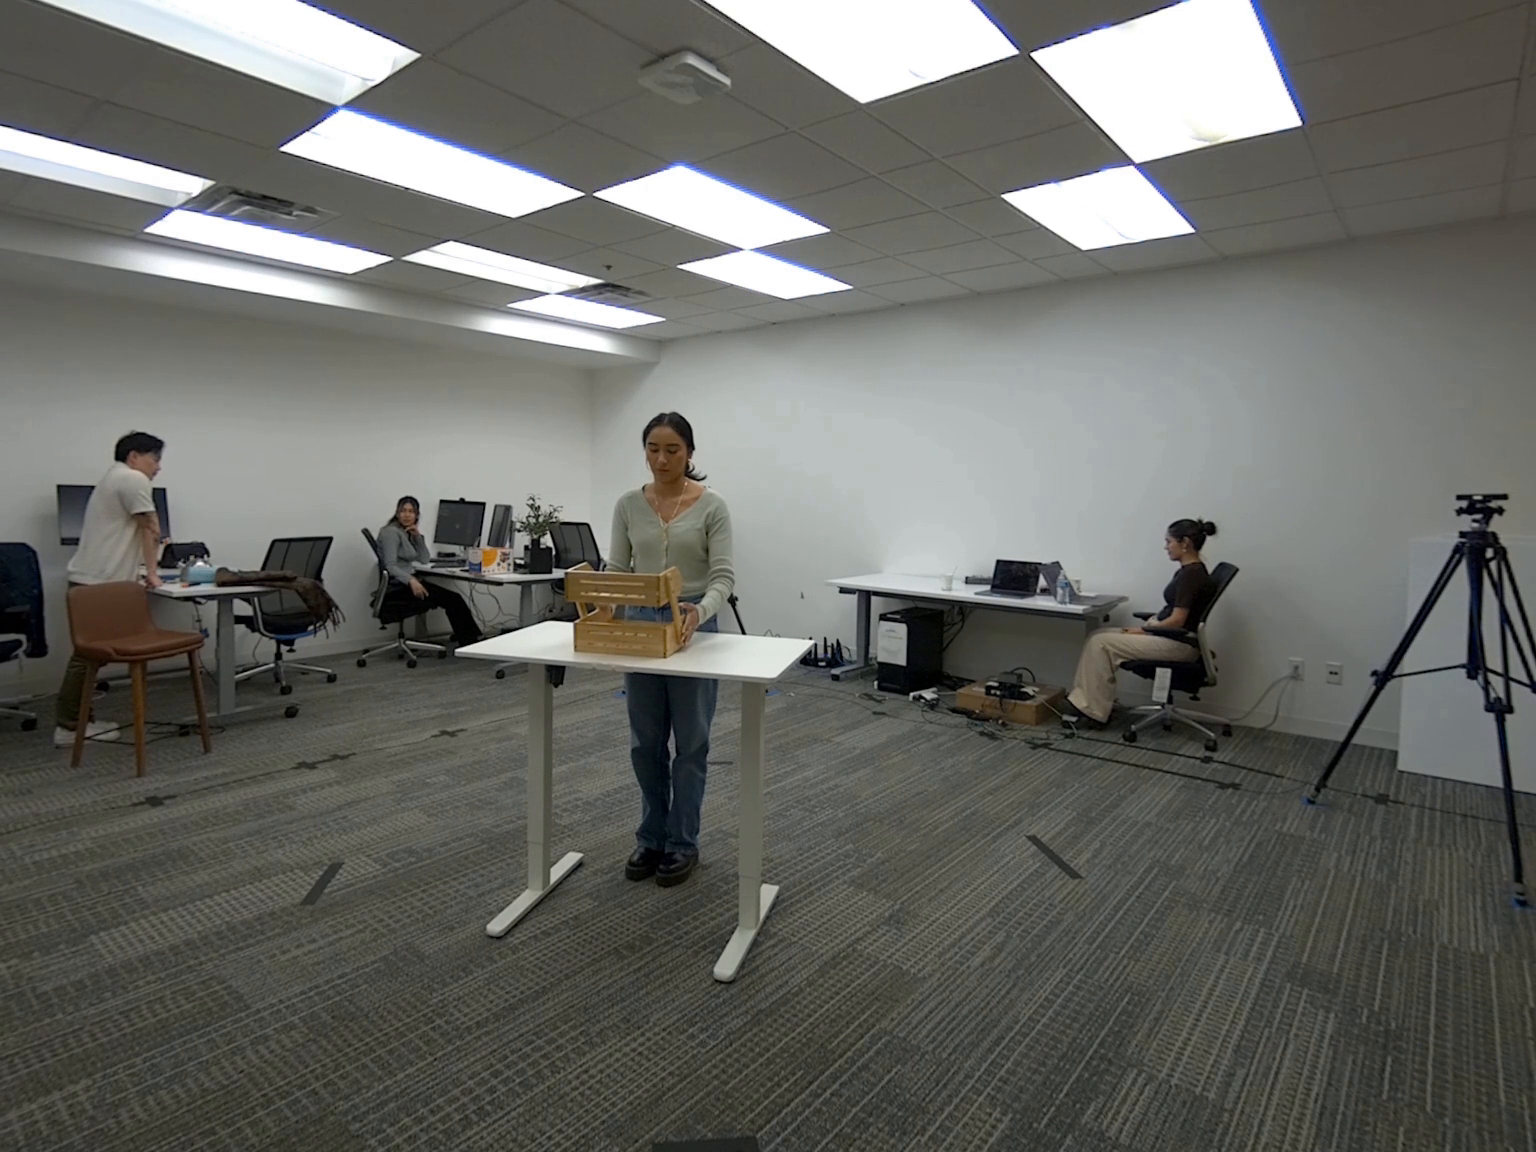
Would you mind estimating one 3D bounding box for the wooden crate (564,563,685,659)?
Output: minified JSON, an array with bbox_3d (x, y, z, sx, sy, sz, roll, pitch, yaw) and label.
[{"bbox_3d":[-0.442,0.086,2.642,0.330,0.271,0.300,2,11,15],"label":"wooden crate"}]
